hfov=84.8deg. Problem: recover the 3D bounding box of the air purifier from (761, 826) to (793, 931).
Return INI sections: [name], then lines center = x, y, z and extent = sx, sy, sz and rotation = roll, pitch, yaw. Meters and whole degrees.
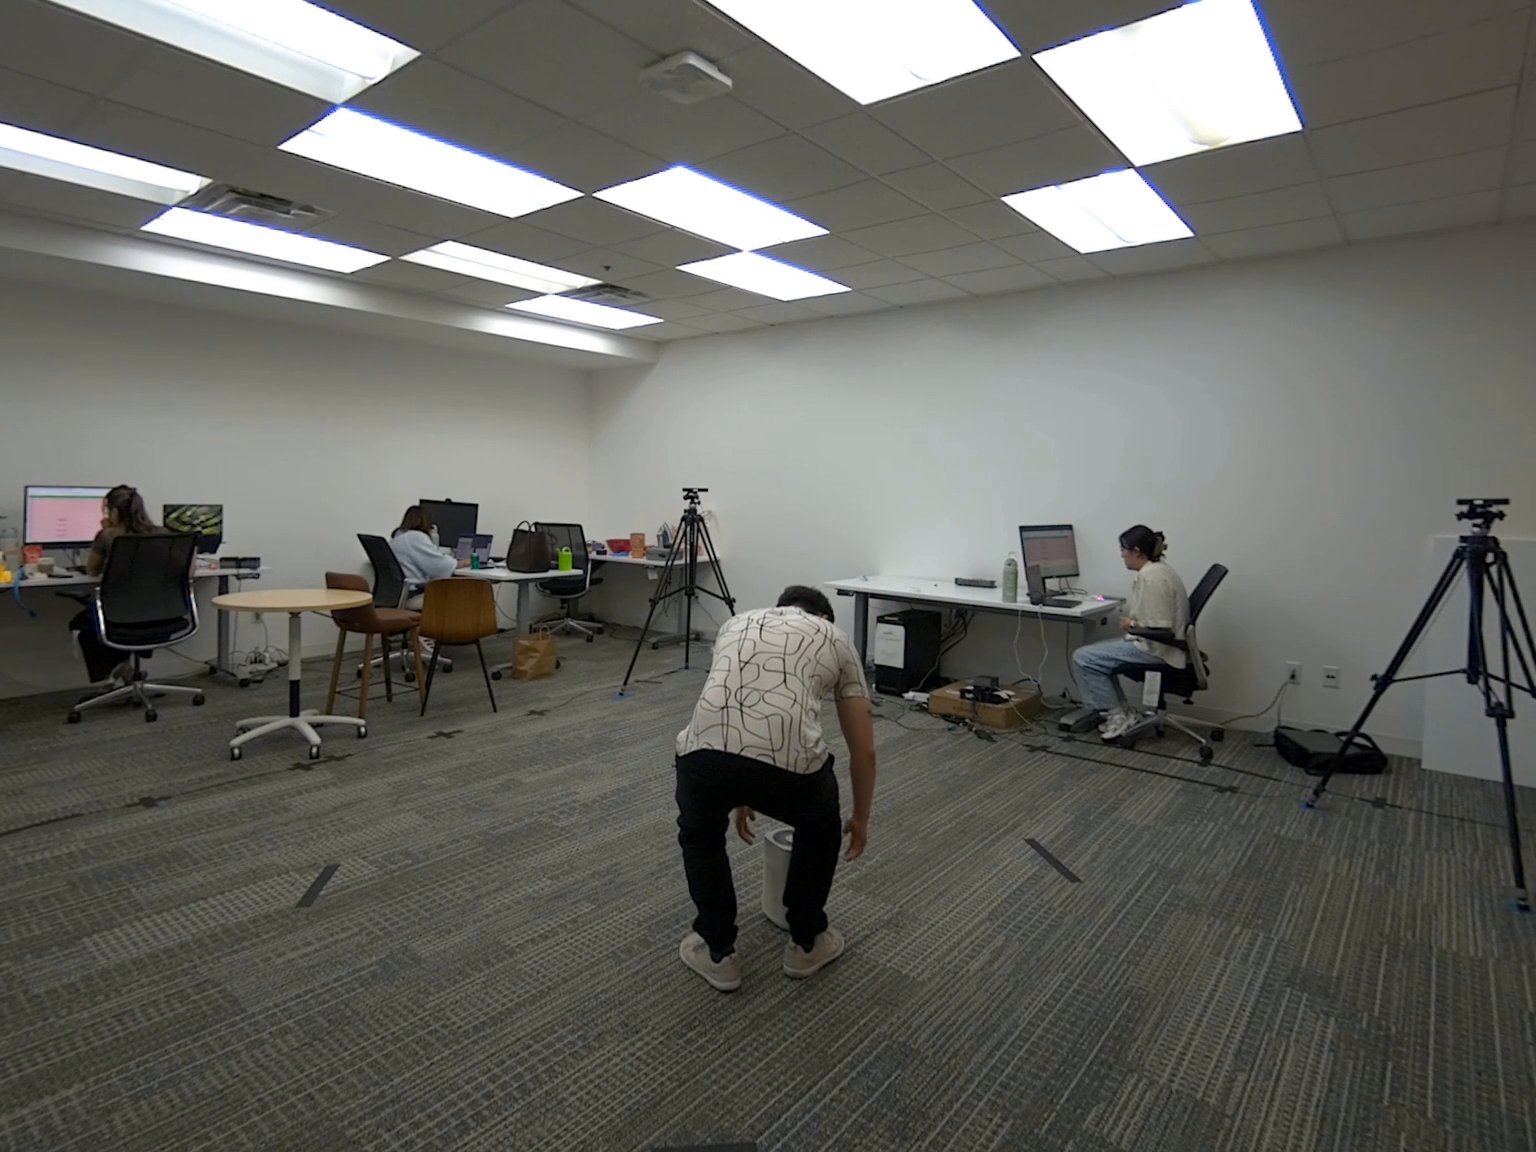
[air purifier]
center = 0.080, 0.980, 2.757
extent = 0.167, 0.265, 0.176
rotation = 1, 2, -33
